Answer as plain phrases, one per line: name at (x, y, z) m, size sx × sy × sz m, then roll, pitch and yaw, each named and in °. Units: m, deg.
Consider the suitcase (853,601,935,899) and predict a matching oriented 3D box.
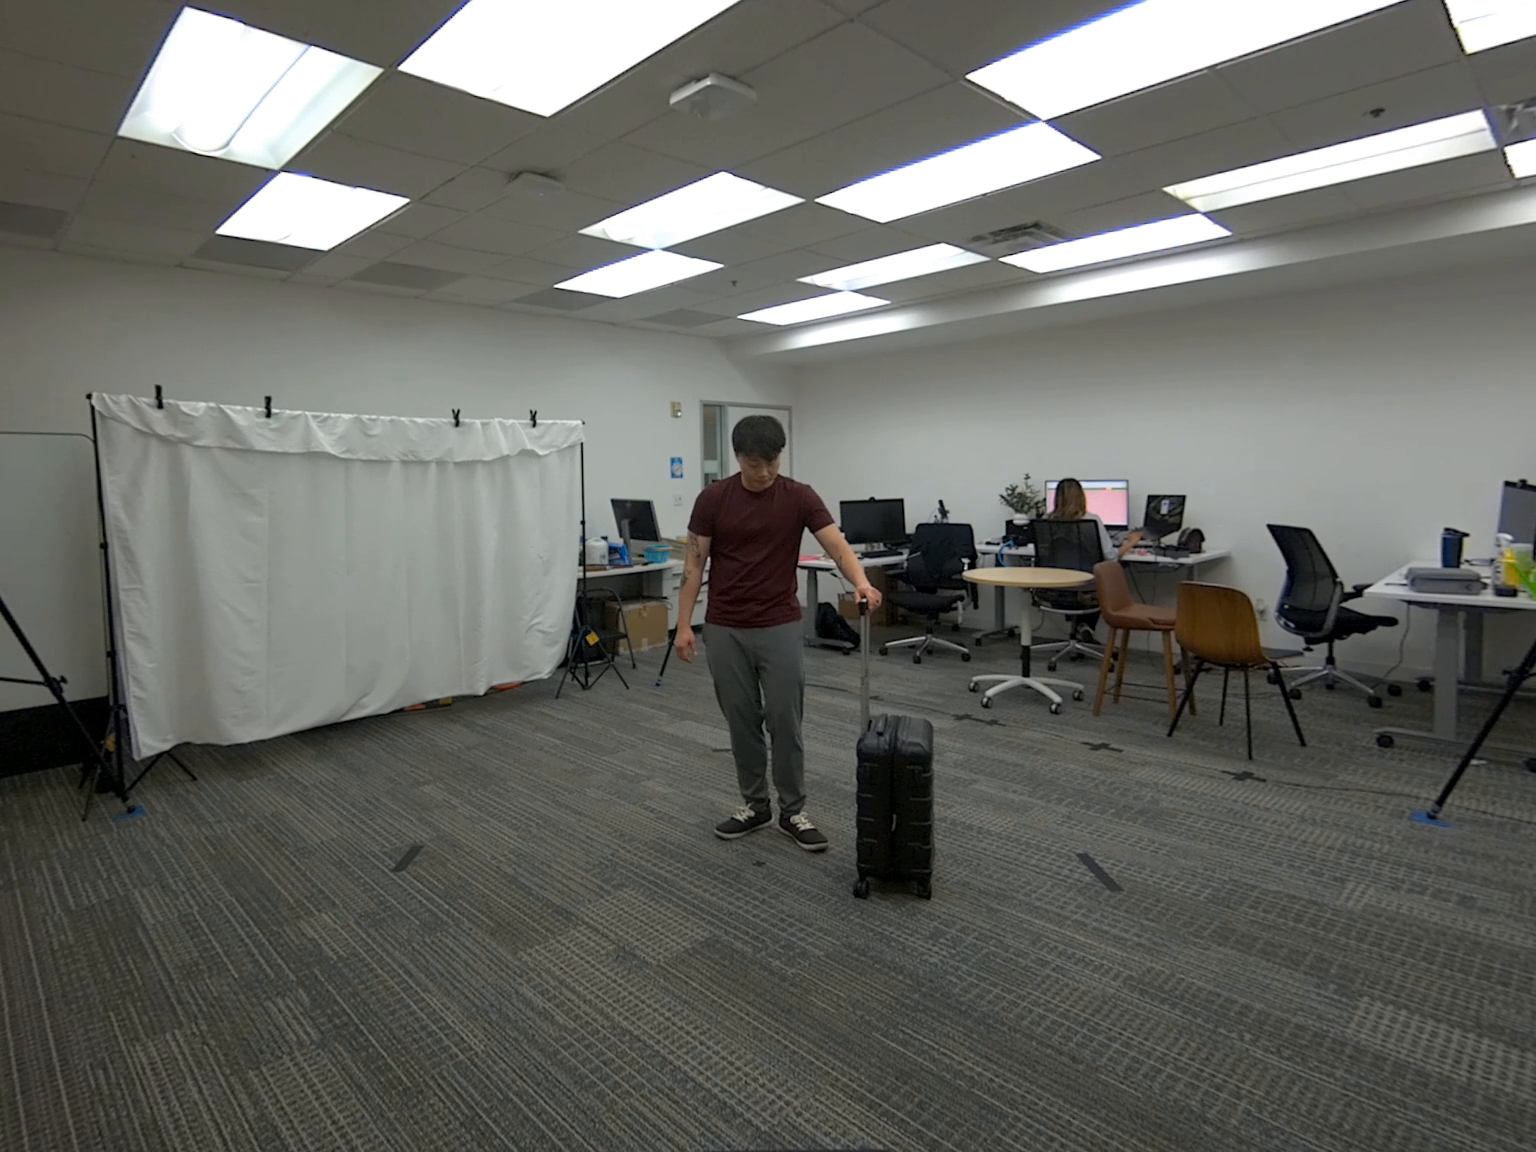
suitcase at (0.455, 0.578, 2.952) m, size 0.260 × 0.974 × 0.381 m, roll 2°, pitch 5°, yaw 12°
